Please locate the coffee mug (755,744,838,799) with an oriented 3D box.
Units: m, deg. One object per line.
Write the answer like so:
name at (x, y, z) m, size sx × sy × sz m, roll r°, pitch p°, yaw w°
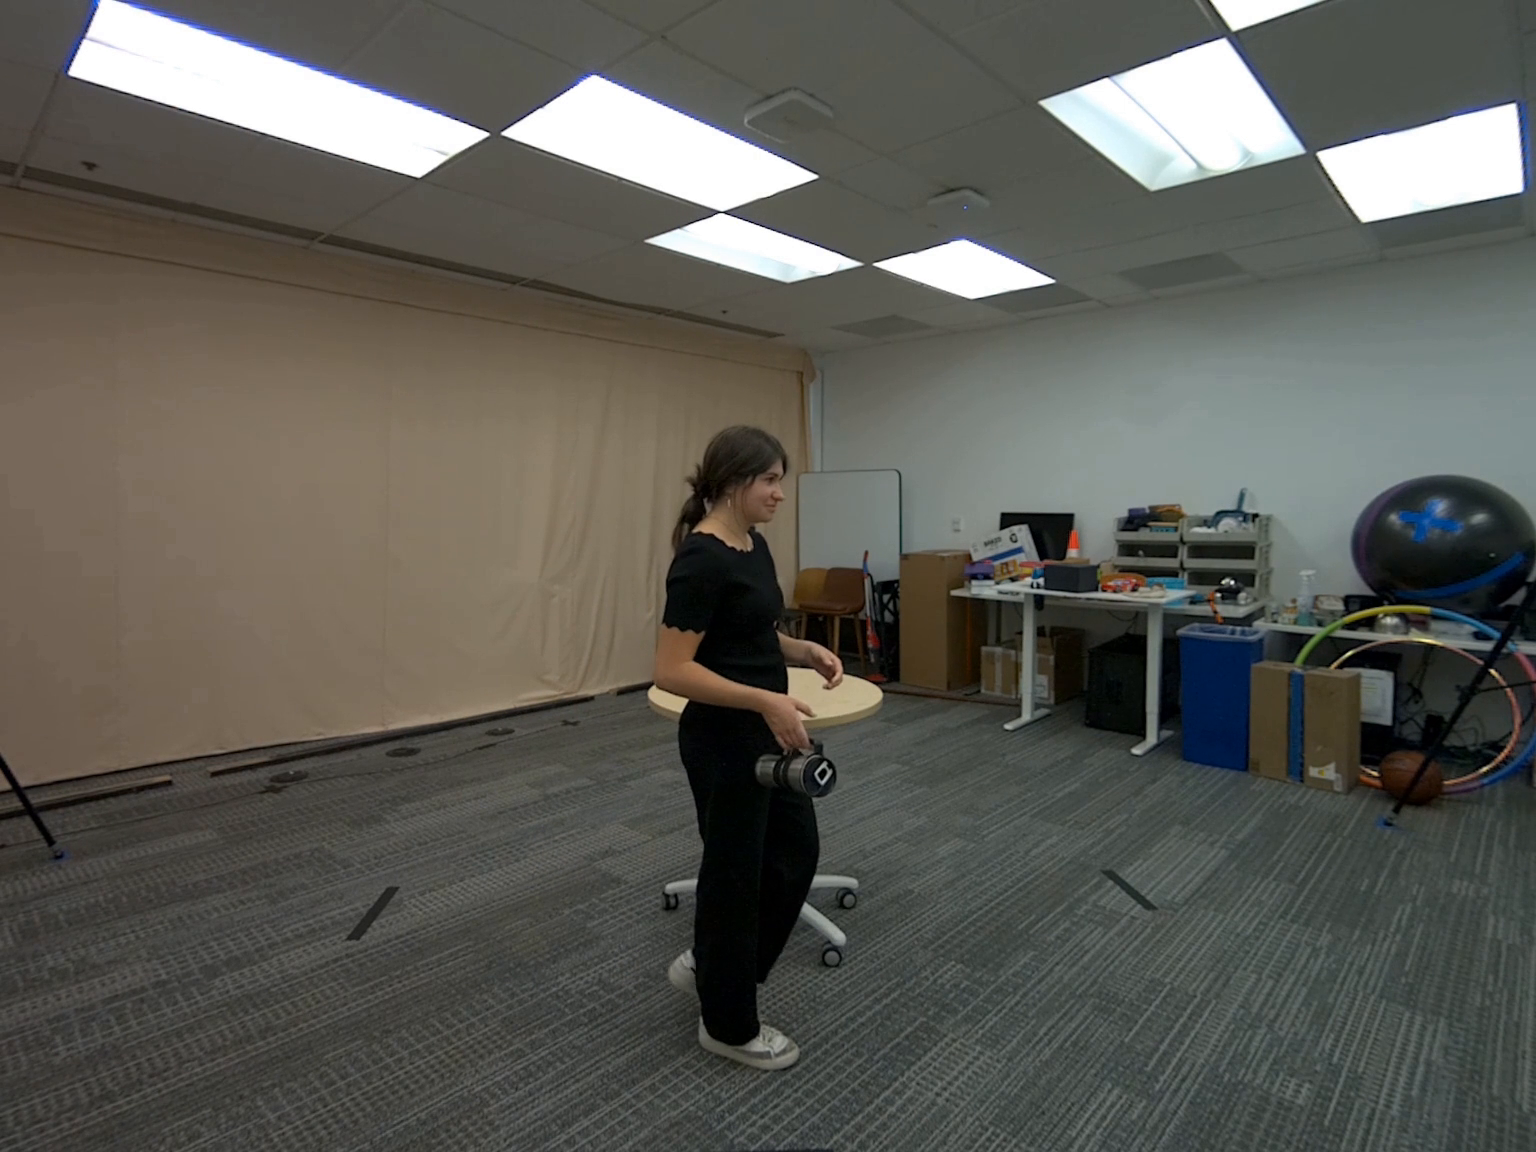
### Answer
coffee mug at (0.085, 0.415, 1.905) m, size 0.085 × 0.122 × 0.208 m, roll 26°, pitch -19°, yaw -31°
